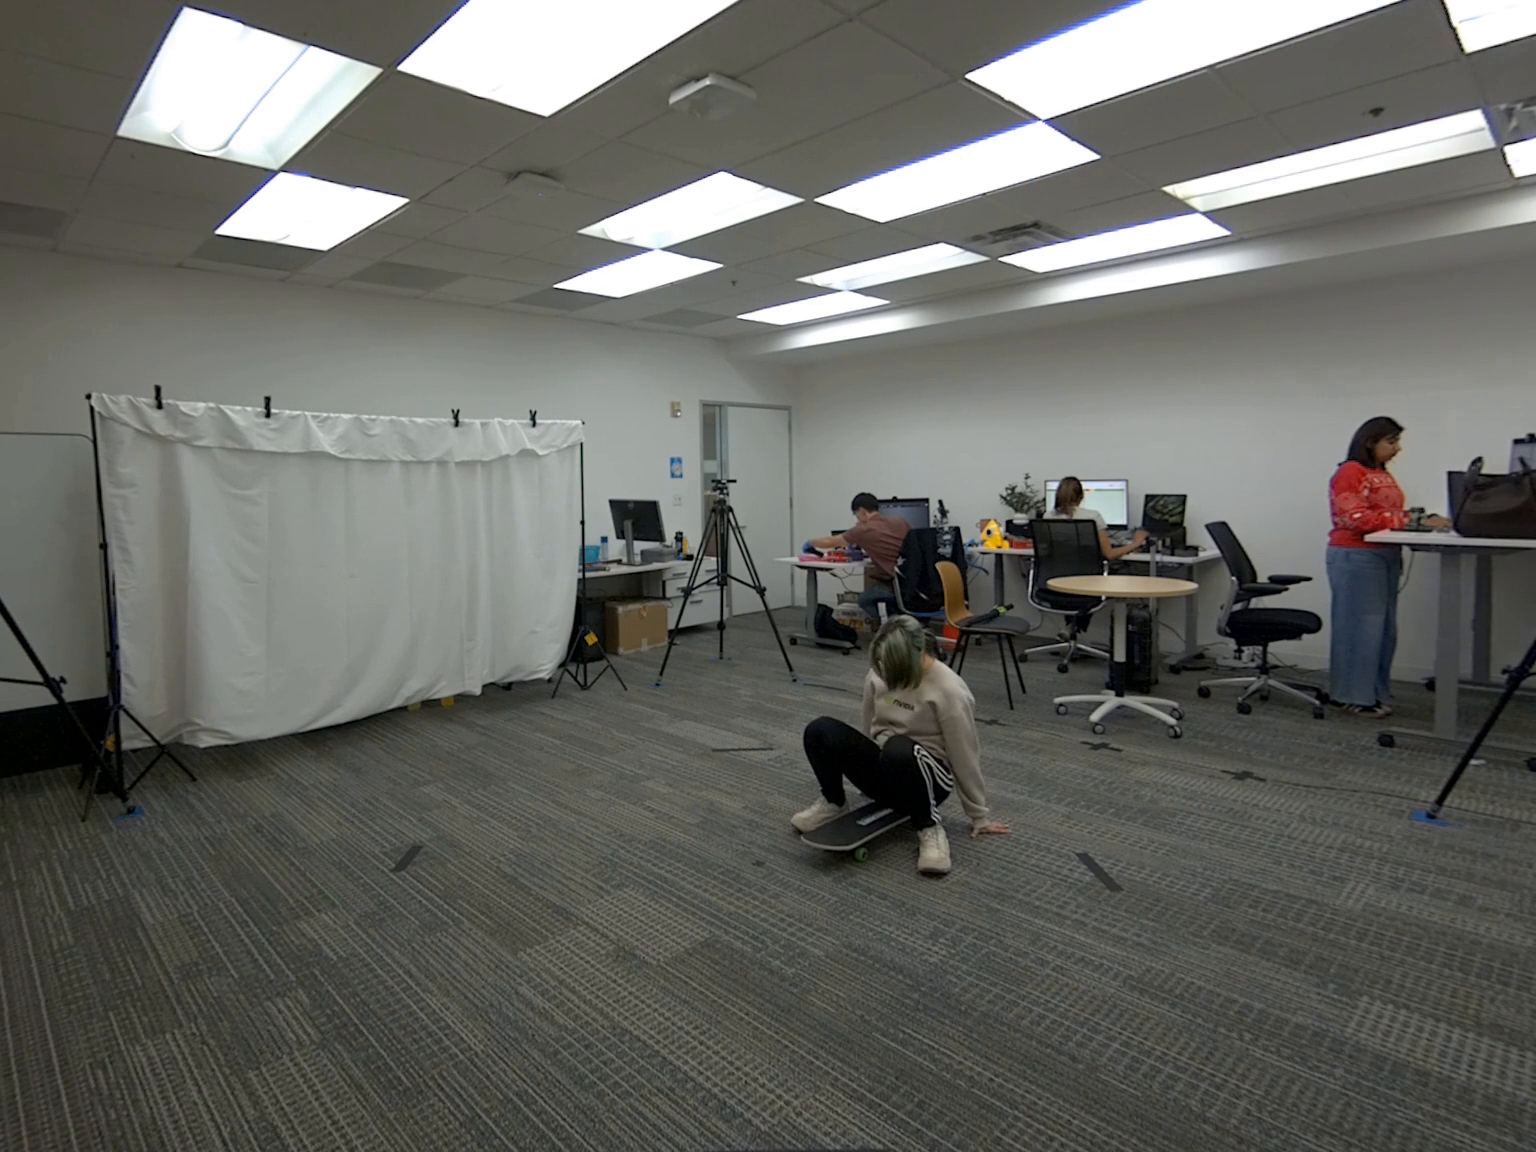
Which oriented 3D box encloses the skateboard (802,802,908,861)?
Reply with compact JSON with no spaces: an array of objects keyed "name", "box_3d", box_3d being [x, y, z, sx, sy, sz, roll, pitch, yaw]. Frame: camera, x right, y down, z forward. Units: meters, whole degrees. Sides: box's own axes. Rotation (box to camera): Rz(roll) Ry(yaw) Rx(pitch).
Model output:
[{"name":"skateboard","box_3d":[0.418,0.964,3.302,0.199,0.110,0.765,2,7,43]}]
